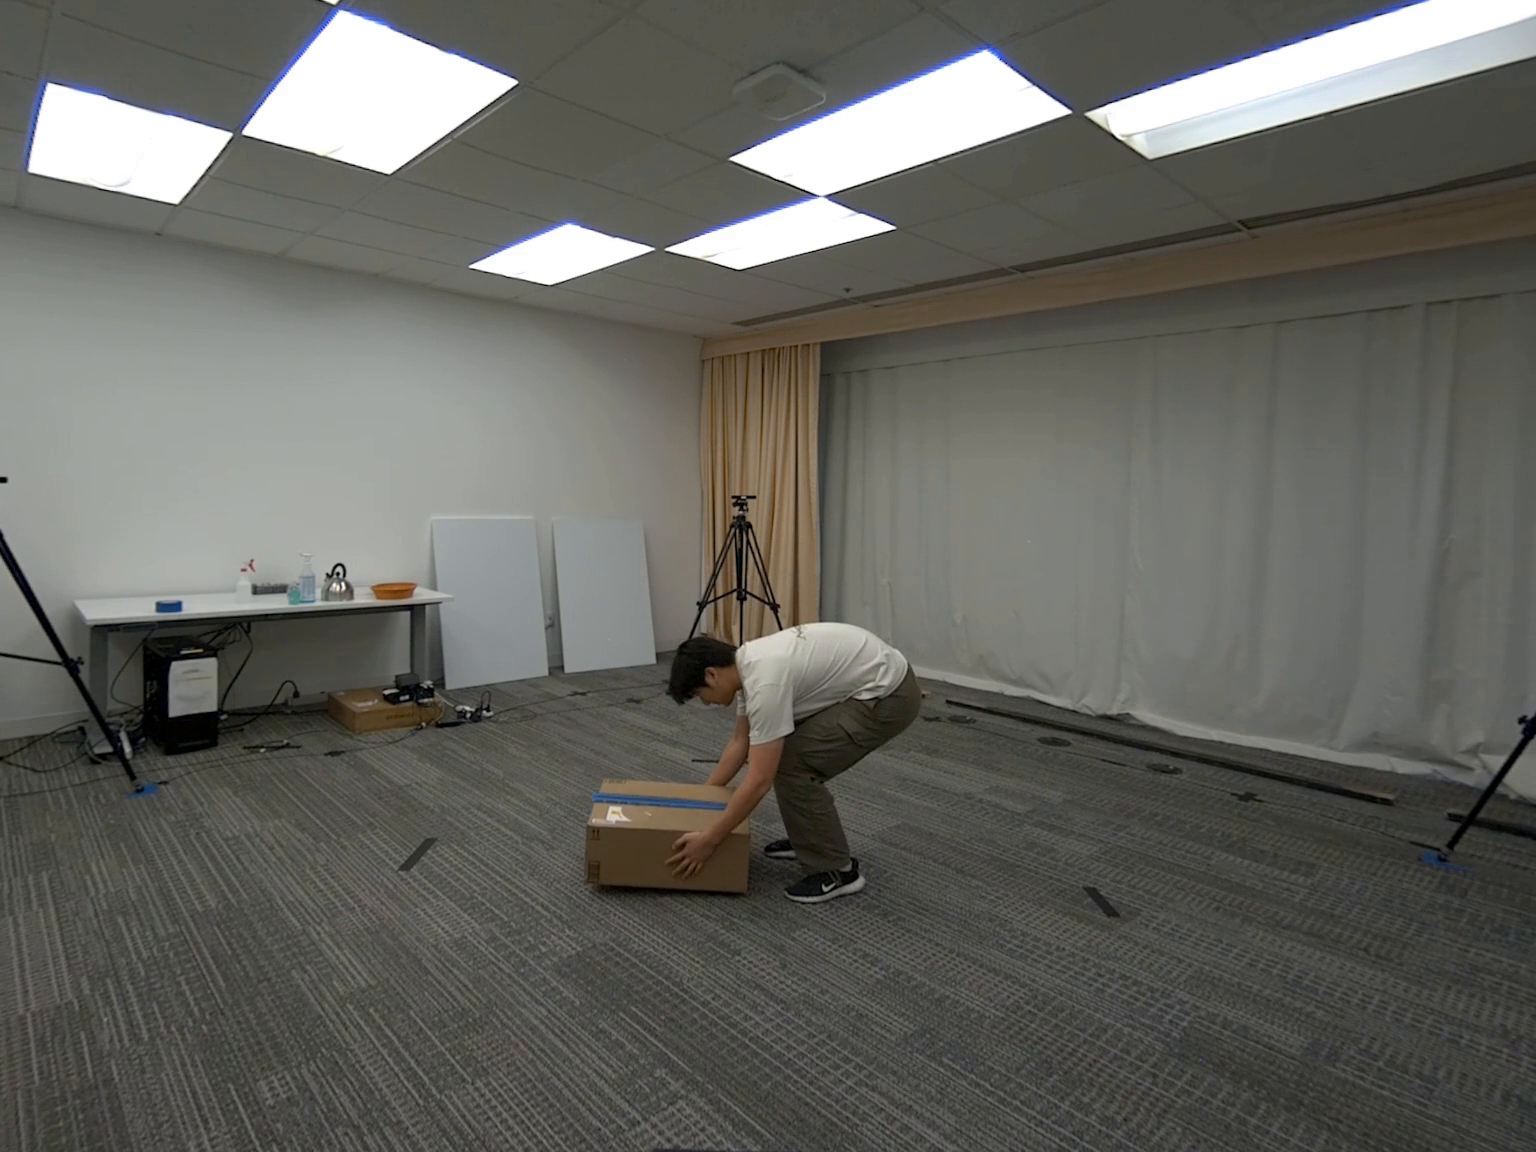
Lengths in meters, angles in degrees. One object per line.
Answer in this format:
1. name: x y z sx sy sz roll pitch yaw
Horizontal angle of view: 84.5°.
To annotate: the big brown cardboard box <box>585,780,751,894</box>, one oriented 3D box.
1. big brown cardboard box: -0.368 0.936 3.094 0.588 0.232 0.420 4 7 -3
